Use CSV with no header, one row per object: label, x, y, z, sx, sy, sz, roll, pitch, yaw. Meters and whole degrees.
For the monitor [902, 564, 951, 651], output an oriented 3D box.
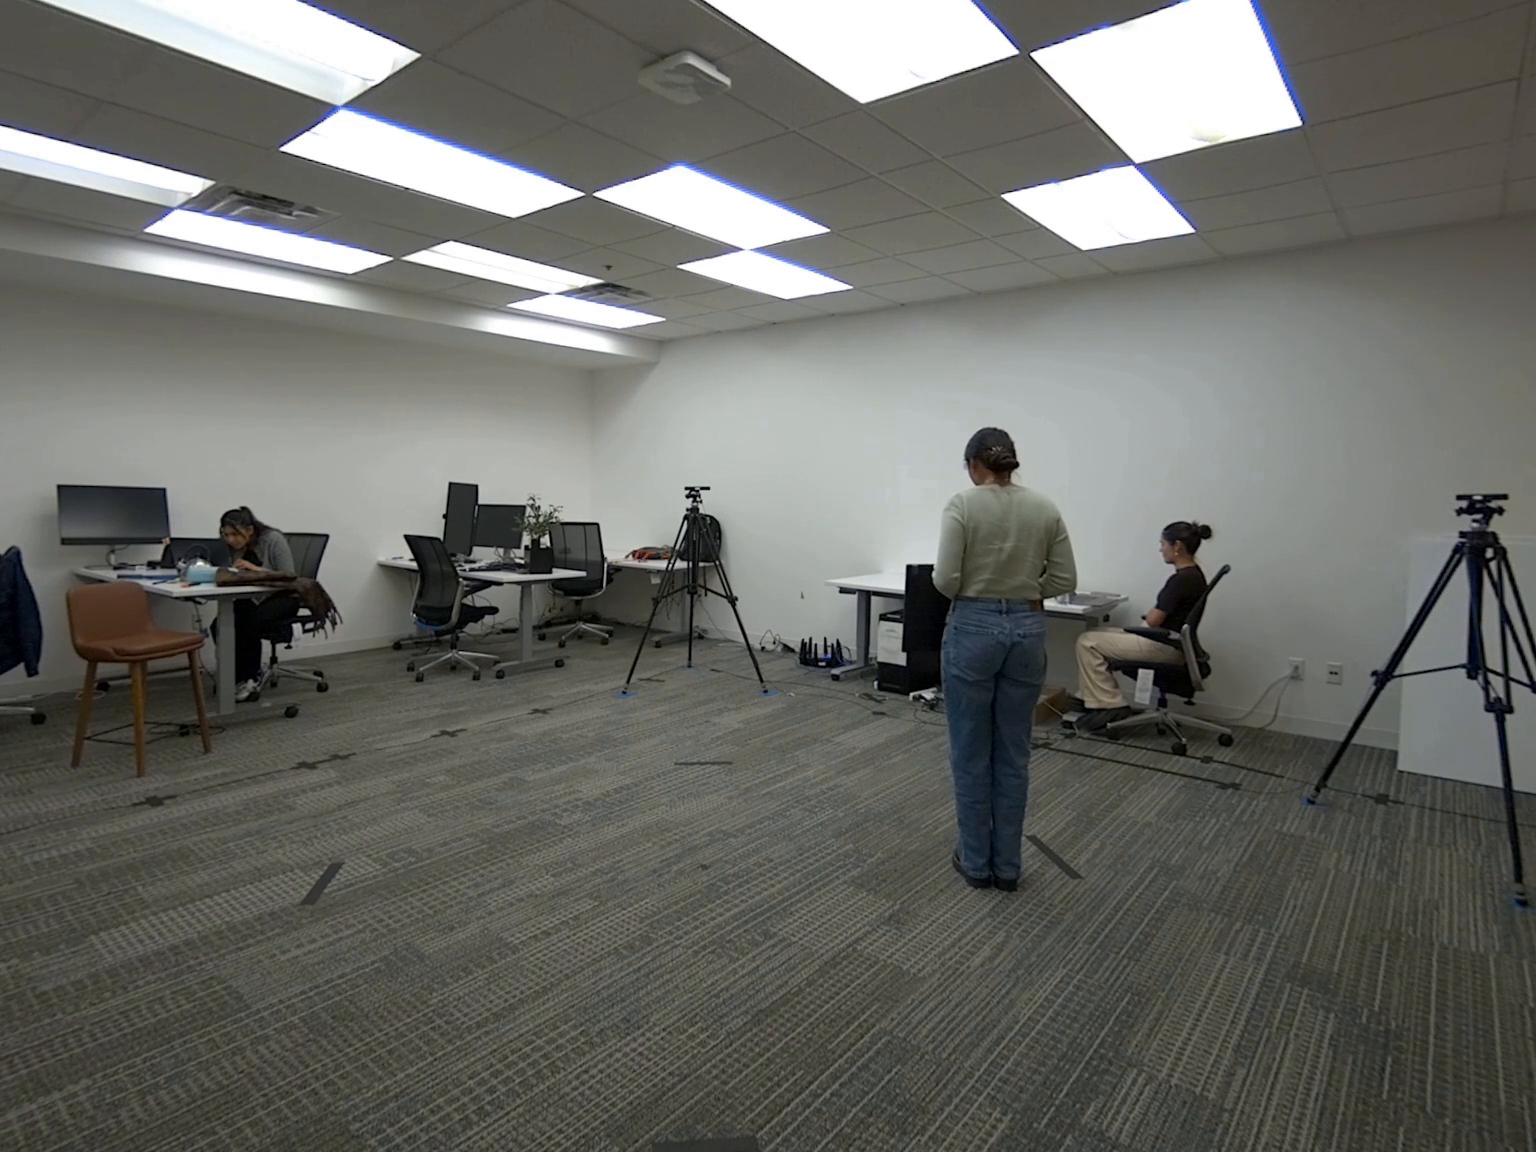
monitor,0.778,0.203,3.215,0.529,0.519,0.174,-5,-5,-2
